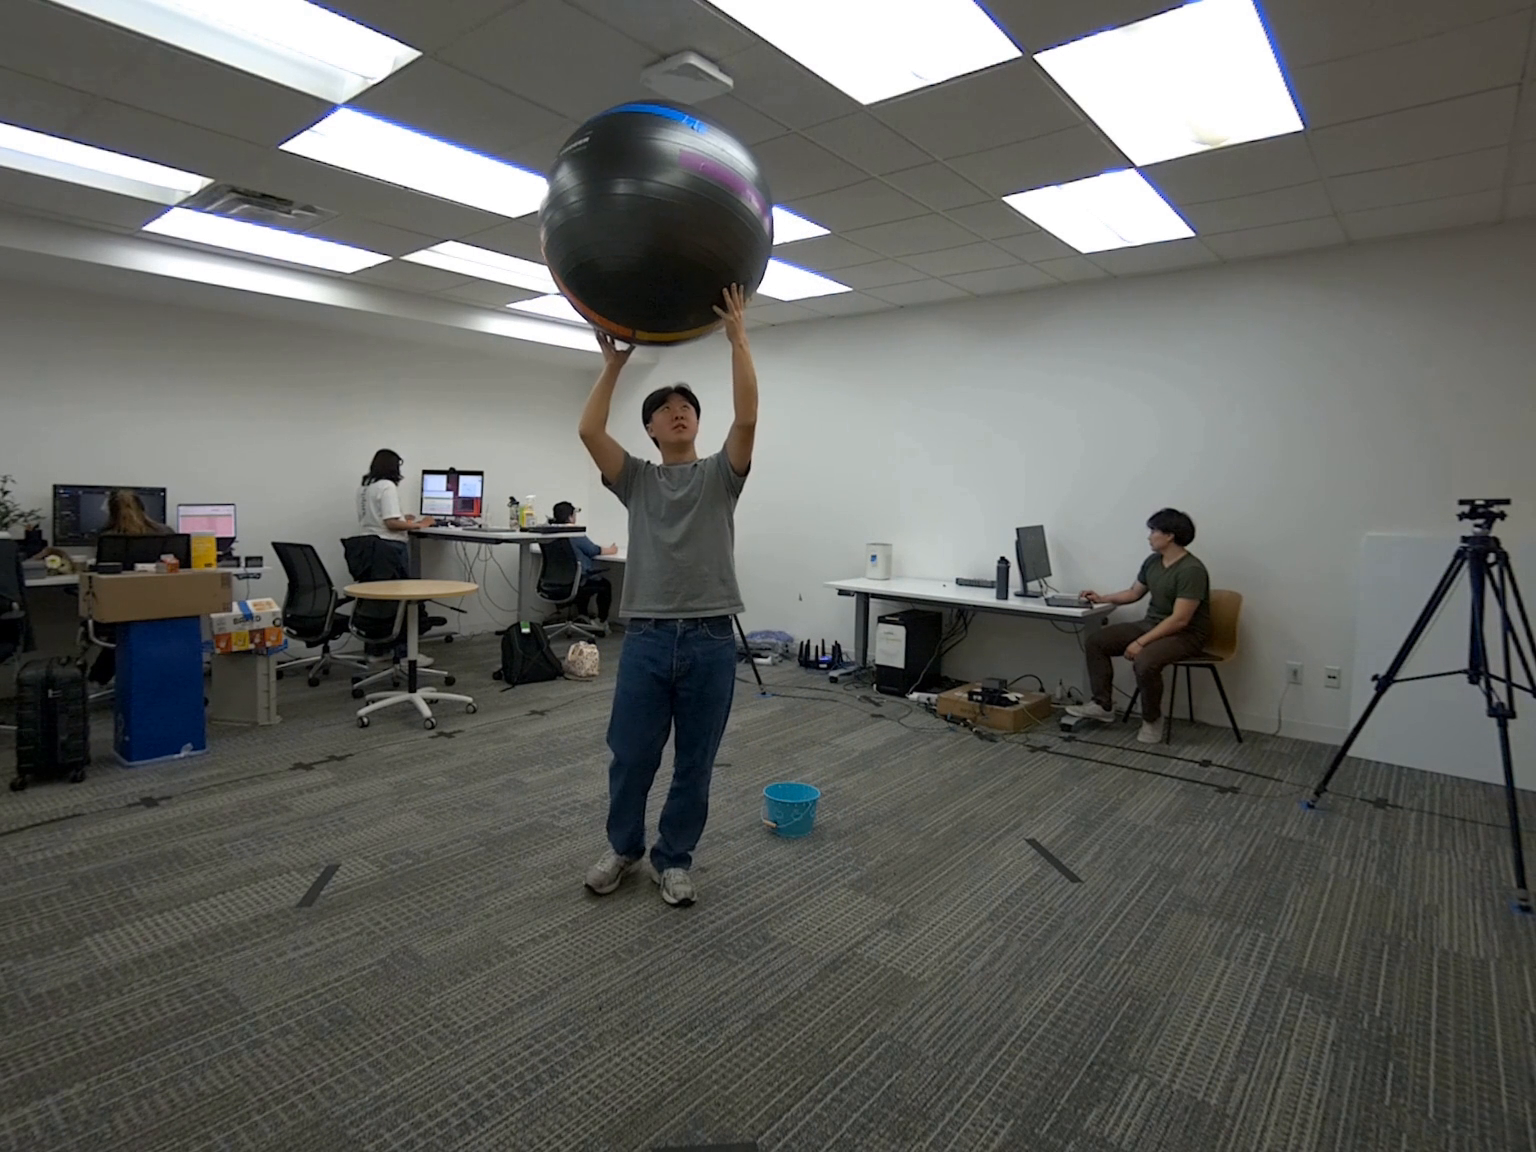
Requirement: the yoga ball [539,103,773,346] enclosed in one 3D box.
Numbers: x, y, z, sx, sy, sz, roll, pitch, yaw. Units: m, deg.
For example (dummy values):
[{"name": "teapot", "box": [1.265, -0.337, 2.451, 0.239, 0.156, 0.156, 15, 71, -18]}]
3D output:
[{"name": "yoga ball", "box": [-0.381, -1.123, 2.763, 0.757, 0.756, 0.761, 1, 4, -2]}]
